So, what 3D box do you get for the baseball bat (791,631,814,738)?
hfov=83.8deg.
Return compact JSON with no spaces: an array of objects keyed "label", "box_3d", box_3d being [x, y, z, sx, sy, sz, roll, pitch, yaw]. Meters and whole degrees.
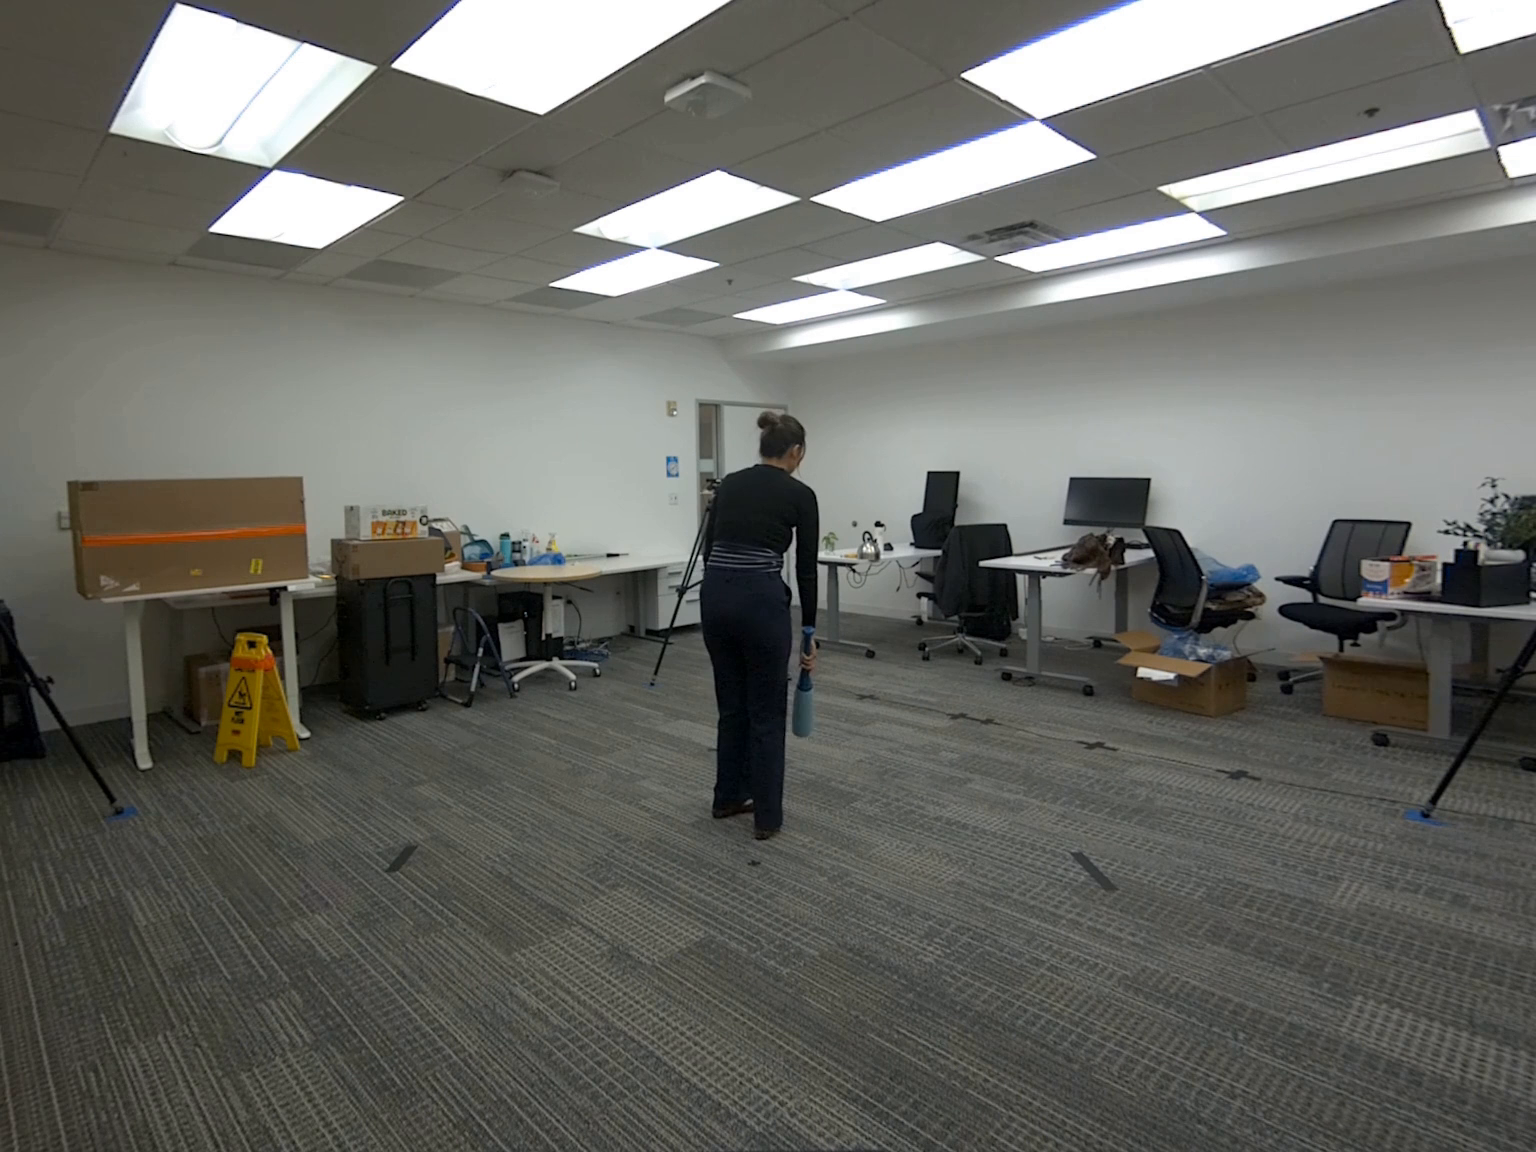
[{"label":"baseball bat","box_3d":[0.143,0.439,3.492,0.089,0.530,0.091,0,31,-2]}]
